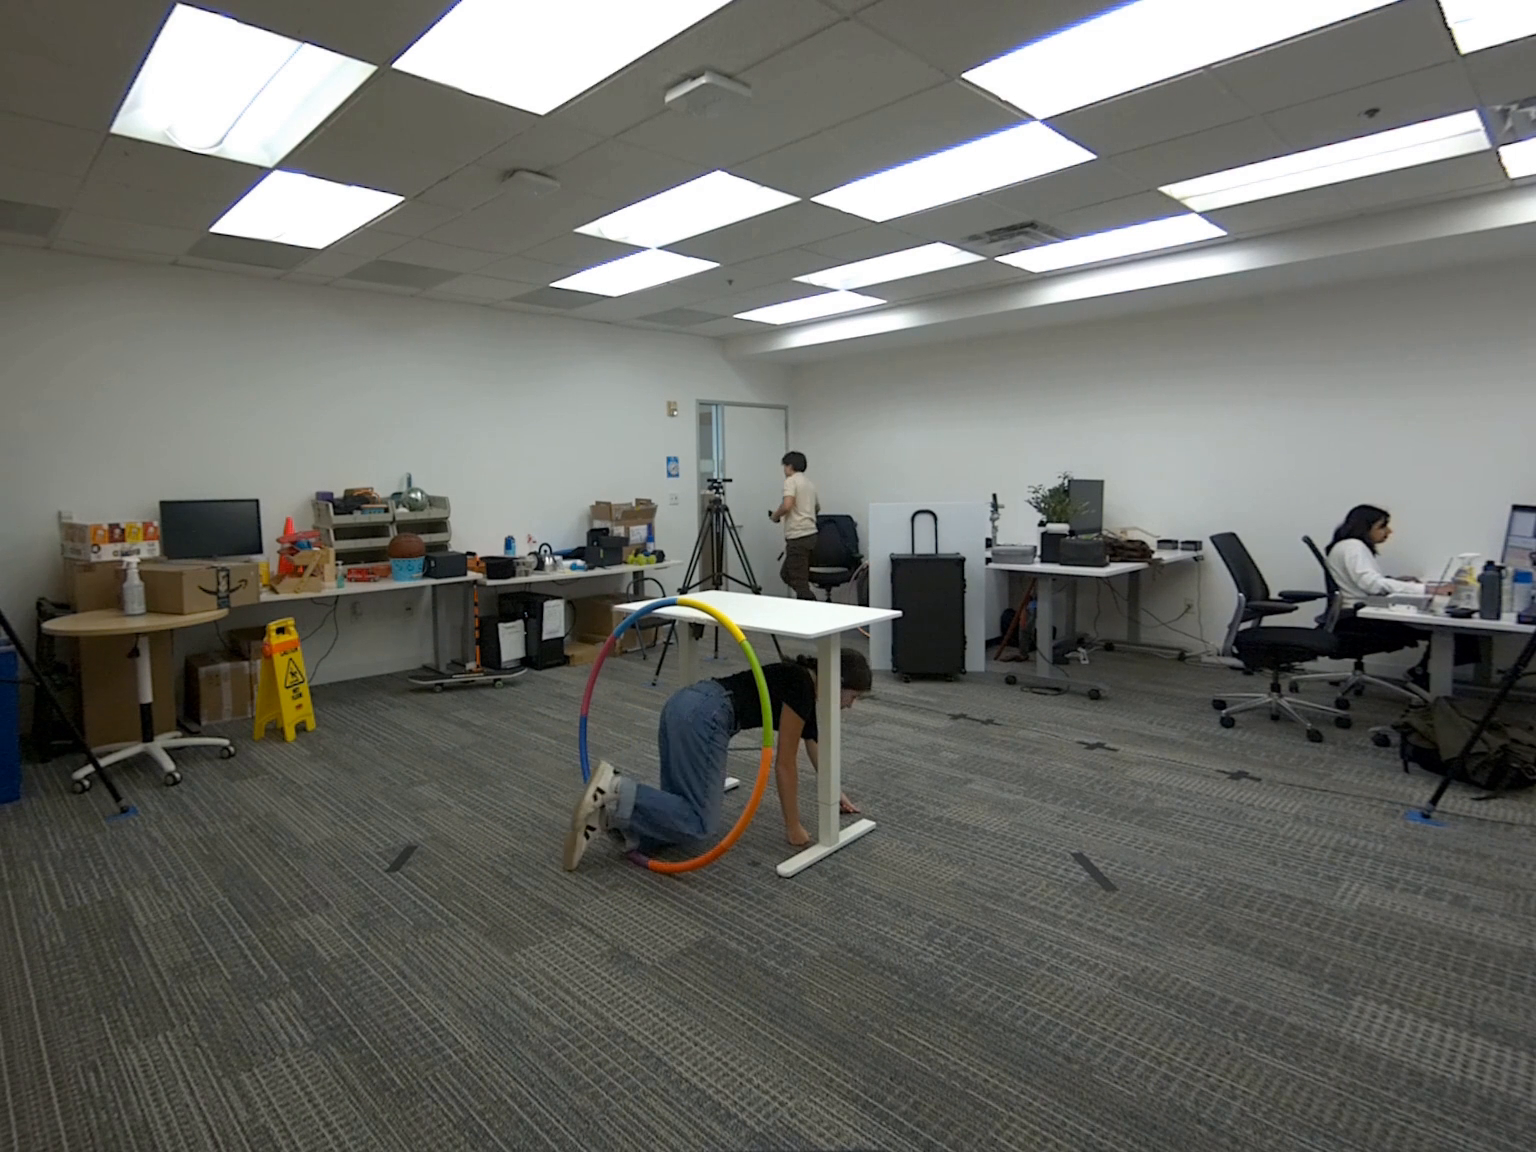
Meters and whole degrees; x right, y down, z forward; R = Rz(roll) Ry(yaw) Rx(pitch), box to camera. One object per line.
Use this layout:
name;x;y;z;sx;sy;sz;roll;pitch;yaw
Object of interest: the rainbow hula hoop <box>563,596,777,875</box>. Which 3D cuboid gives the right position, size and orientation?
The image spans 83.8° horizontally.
rainbow hula hoop;-0.372;0.576;3.158;1.008;0.984;0.034;3;-8;41
